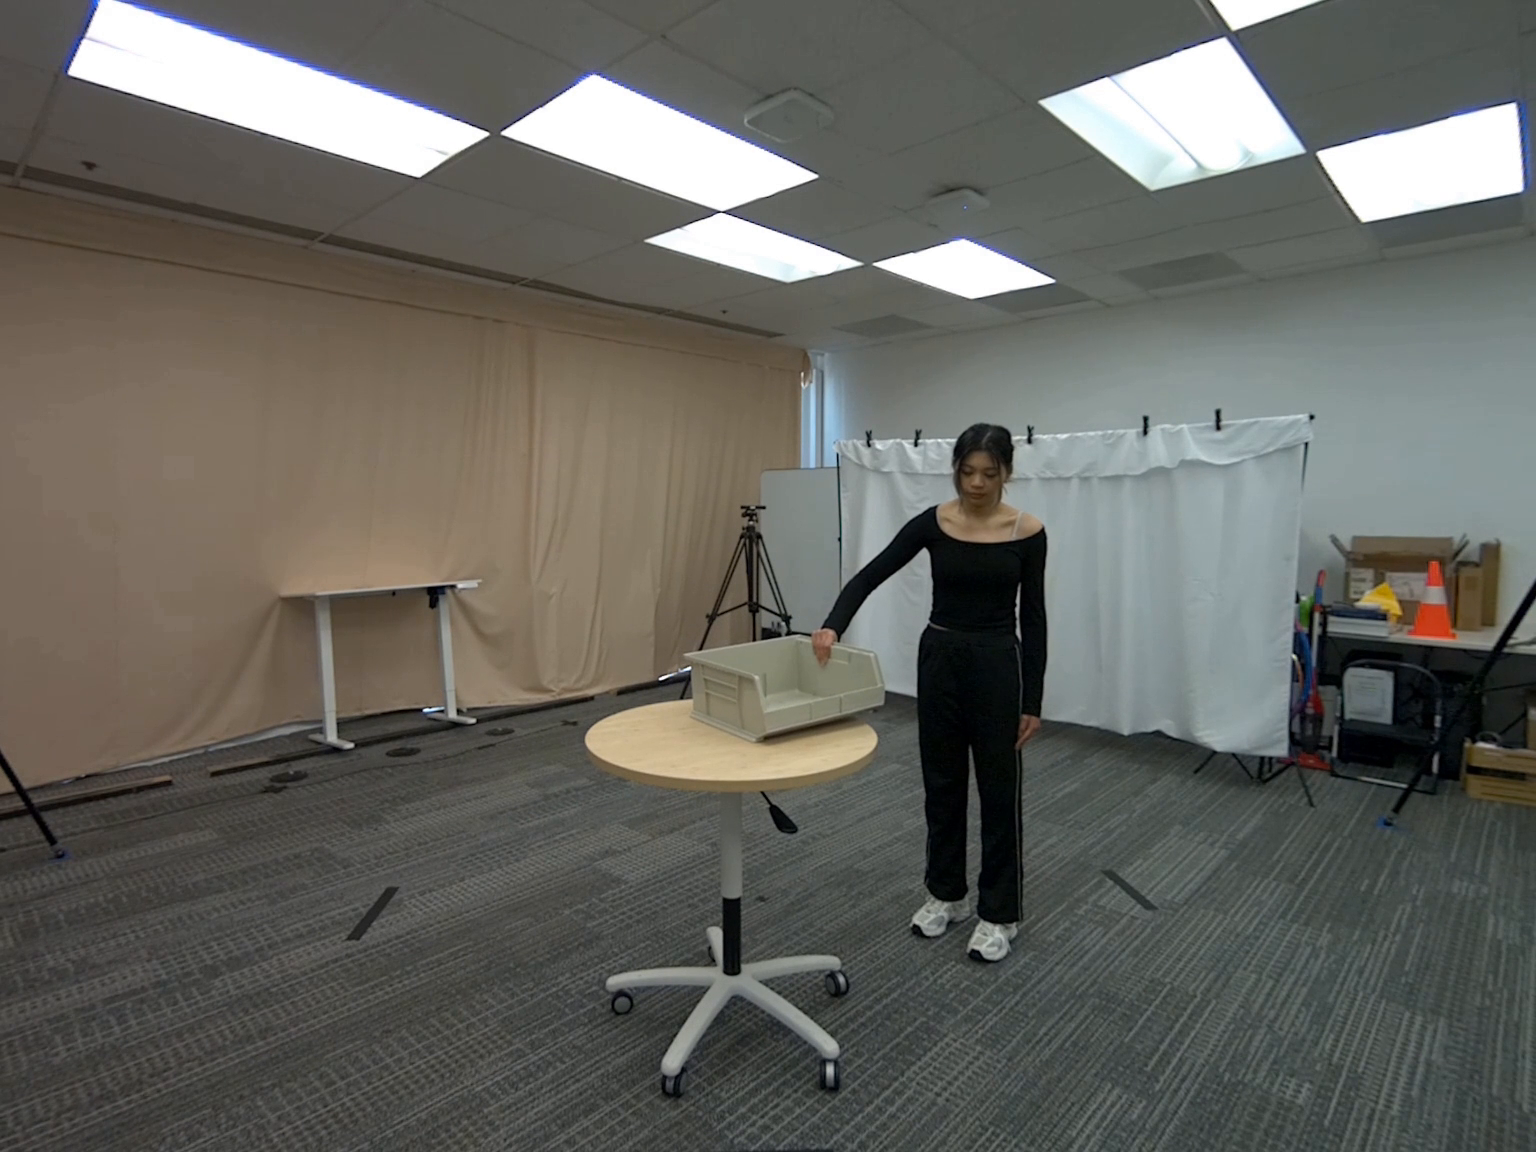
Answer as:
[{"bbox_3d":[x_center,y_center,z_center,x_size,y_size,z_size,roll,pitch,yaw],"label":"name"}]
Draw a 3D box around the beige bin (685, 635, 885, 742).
[{"bbox_3d":[0.051,0.305,2.348,0.411,0.188,0.389,-7,7,-34],"label":"beige bin"}]
